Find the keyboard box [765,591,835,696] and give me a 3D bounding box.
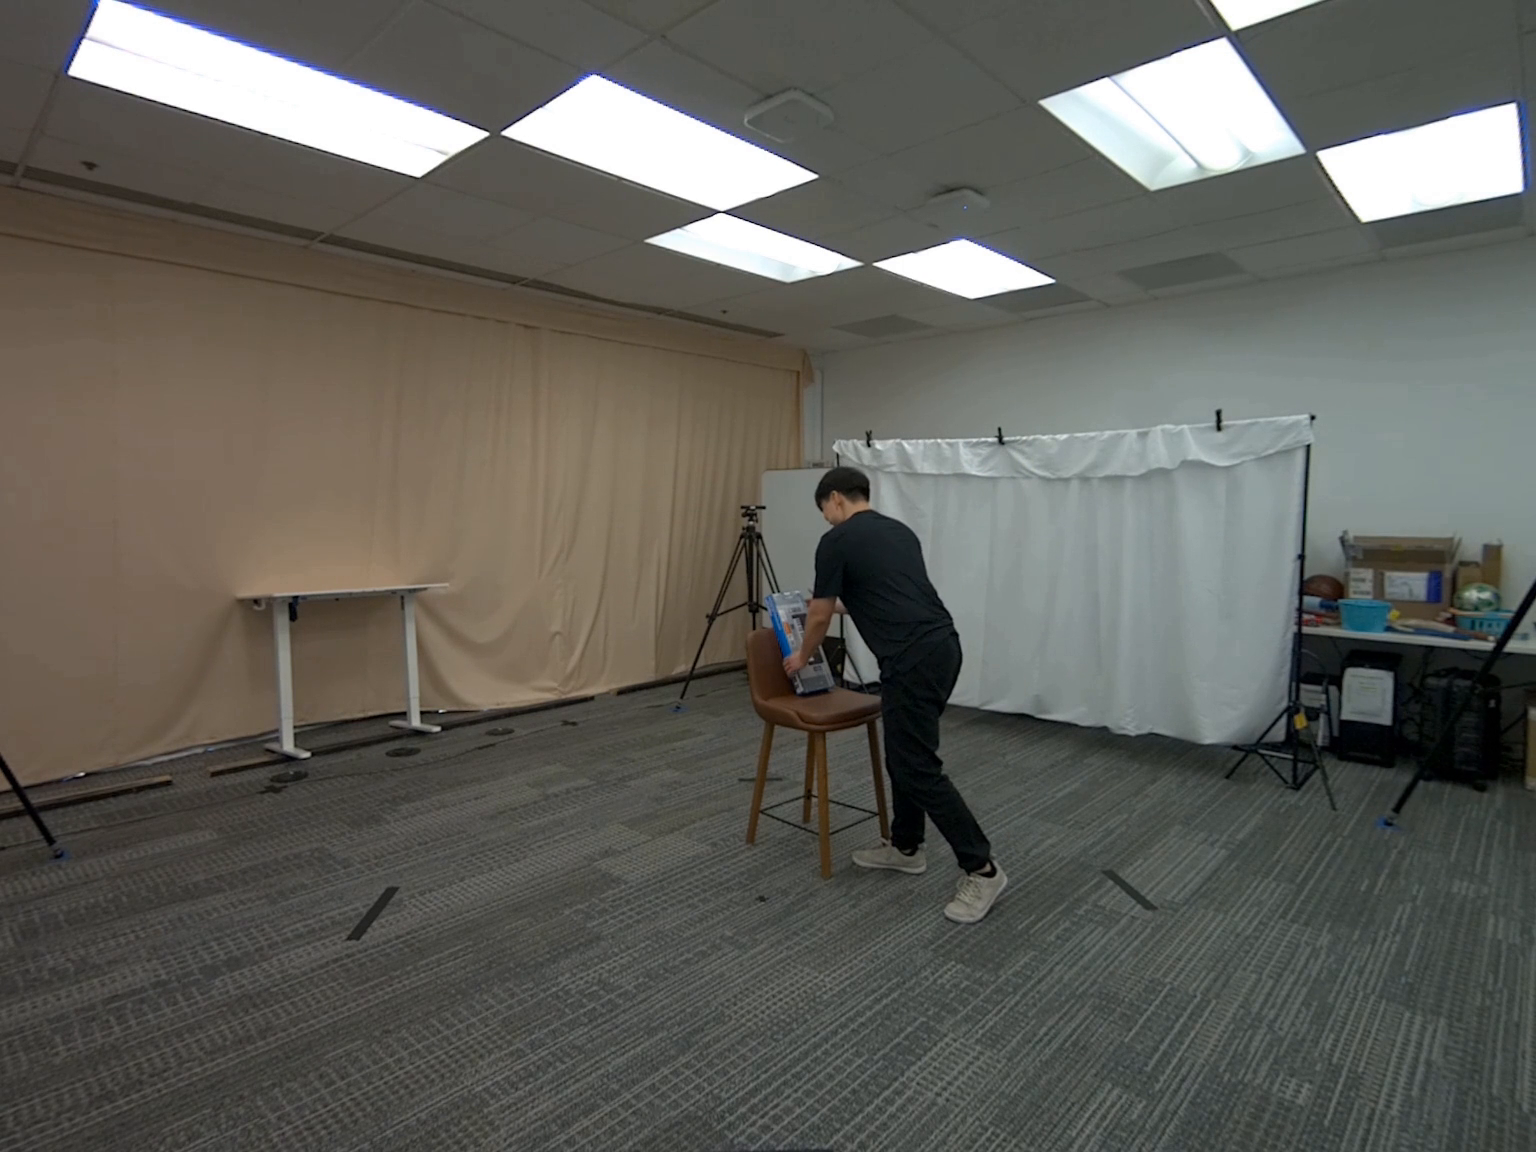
[{"bbox_3d":[0.138,0.279,3.557,0.171,0.444,0.060,-4,-24,-36],"label":"keyboard box"}]
